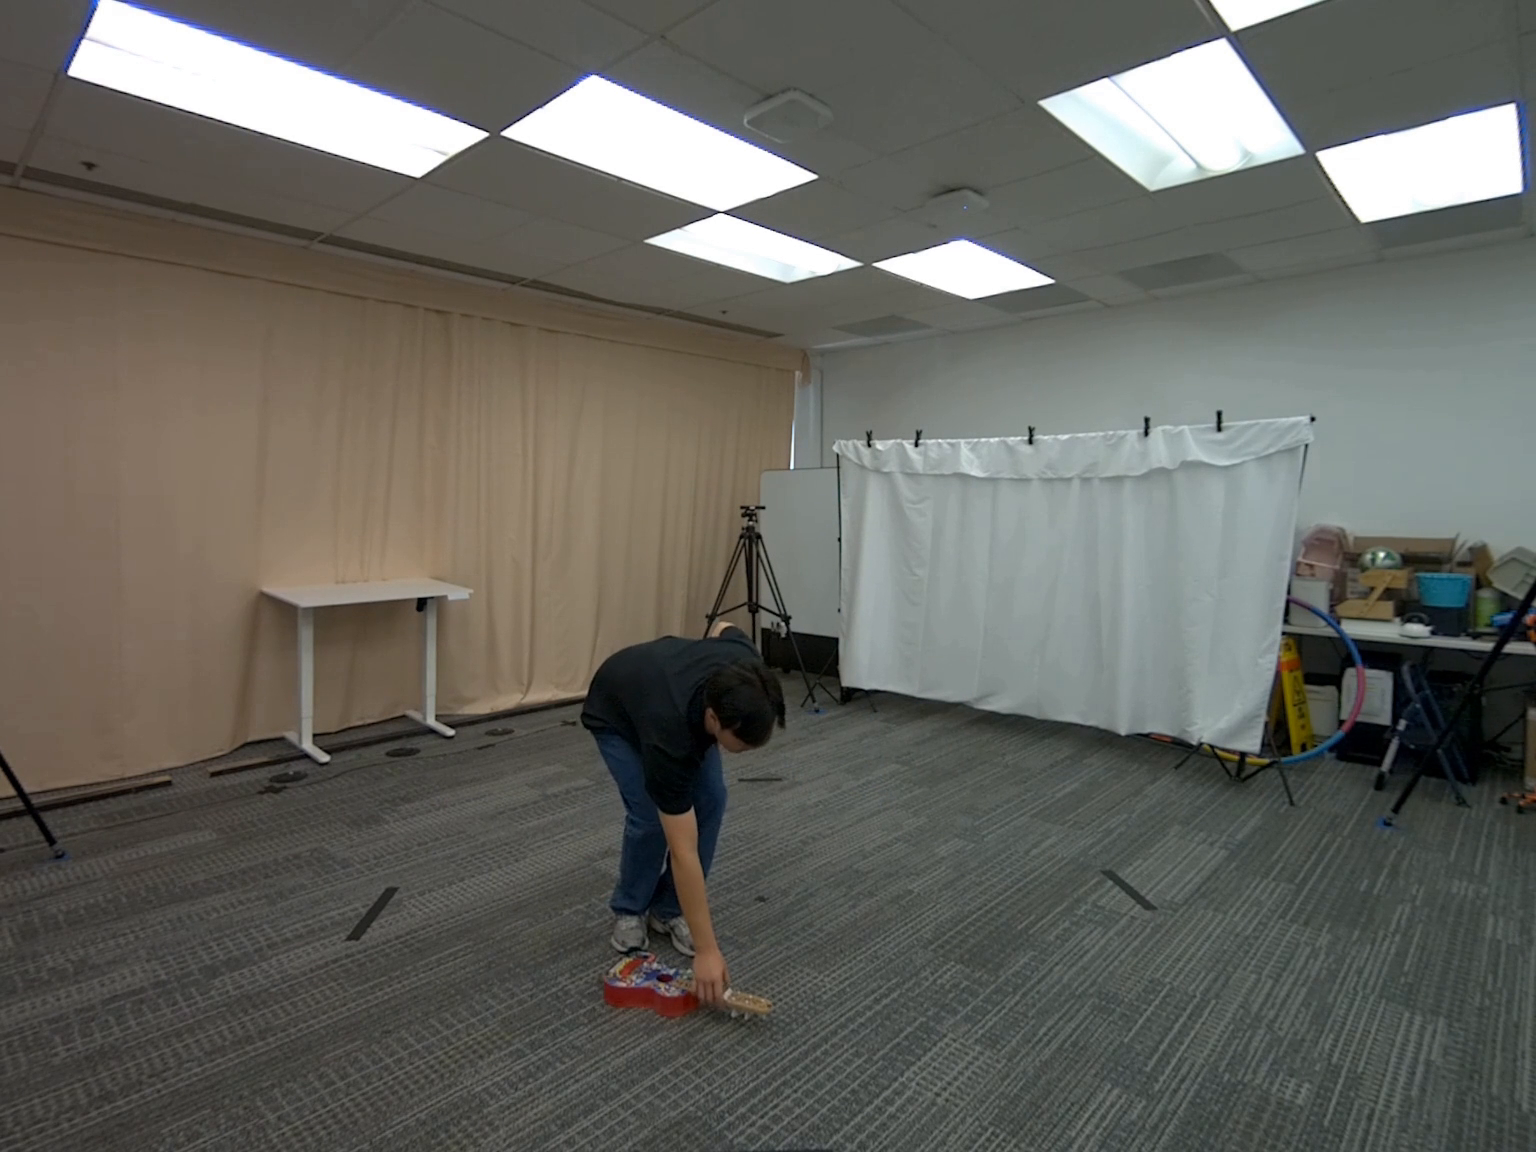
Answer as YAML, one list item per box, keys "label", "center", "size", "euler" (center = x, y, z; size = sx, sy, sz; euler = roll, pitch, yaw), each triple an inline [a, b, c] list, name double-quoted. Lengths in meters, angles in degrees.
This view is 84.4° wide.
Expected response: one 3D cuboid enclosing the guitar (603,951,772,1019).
- label: "guitar"
  center: [-0.235, 1.162, 2.323]
  size: [0.513, 0.070, 0.187]
  euler: [3, 5, 35]
